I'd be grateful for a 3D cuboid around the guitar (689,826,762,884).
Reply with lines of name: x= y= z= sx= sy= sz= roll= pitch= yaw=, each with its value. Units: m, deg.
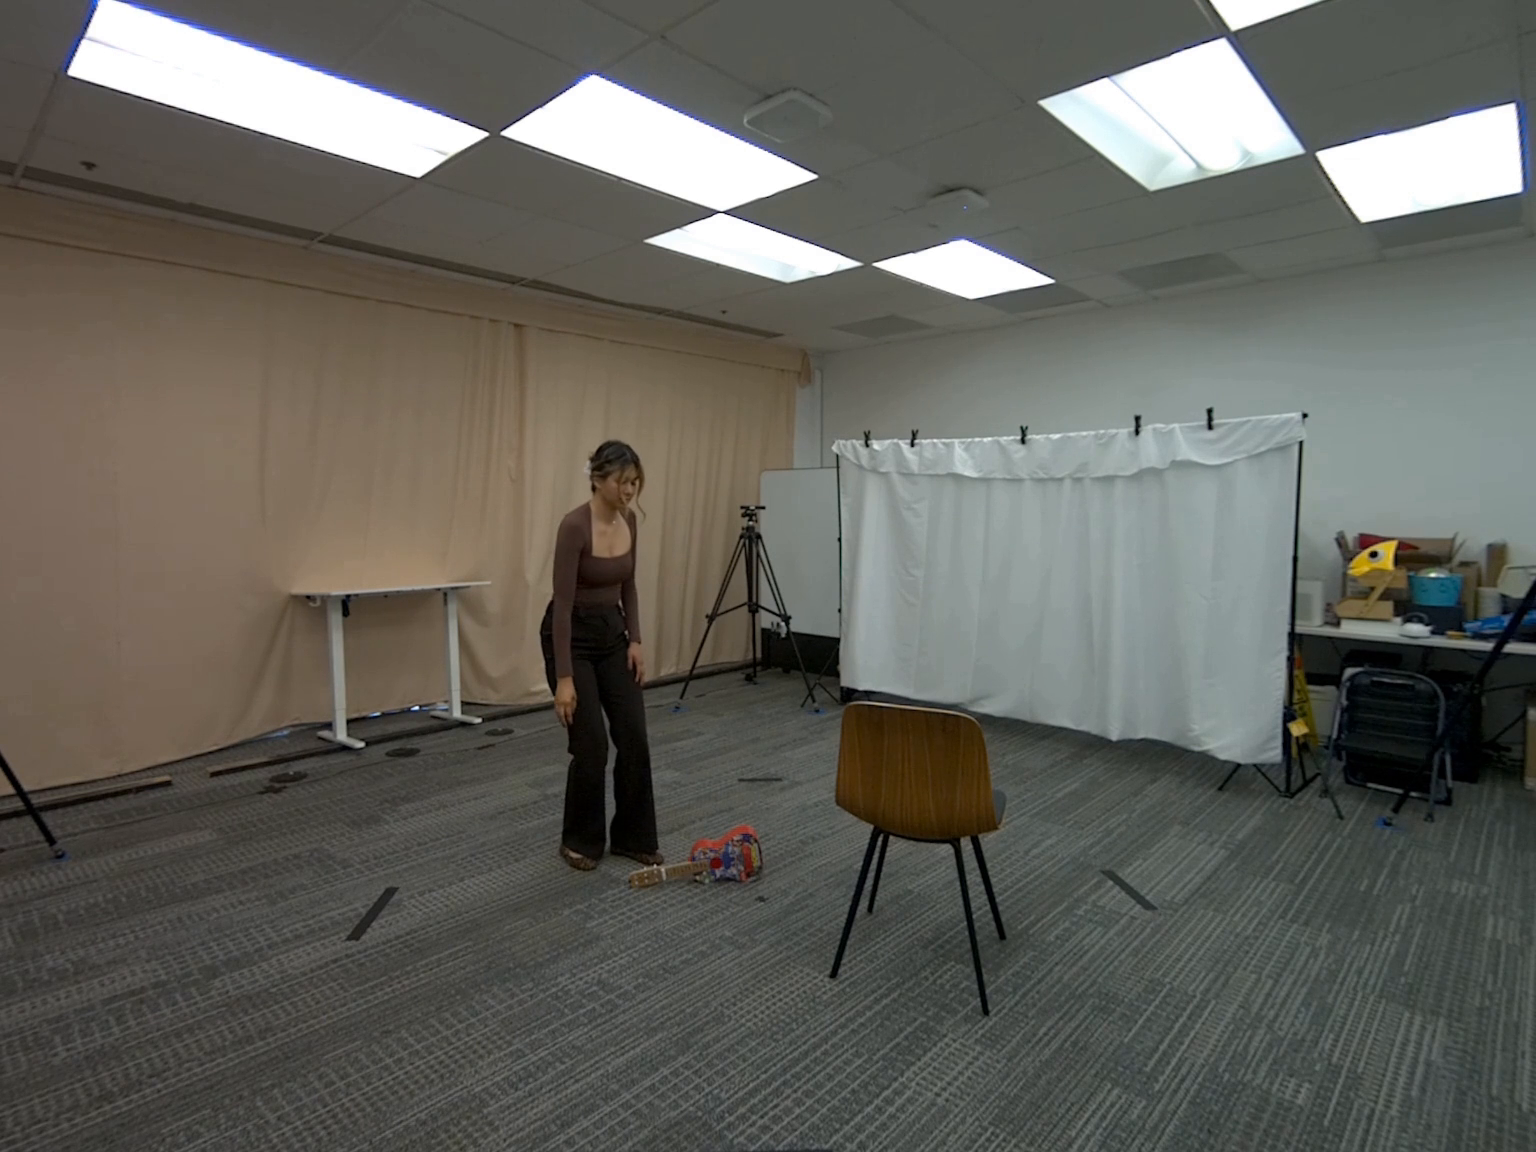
guitar: x=-0.269 y=1.044 z=3.112 sx=0.494 sy=0.192 sz=0.071 roll=-1 pitch=7 yaw=-6
